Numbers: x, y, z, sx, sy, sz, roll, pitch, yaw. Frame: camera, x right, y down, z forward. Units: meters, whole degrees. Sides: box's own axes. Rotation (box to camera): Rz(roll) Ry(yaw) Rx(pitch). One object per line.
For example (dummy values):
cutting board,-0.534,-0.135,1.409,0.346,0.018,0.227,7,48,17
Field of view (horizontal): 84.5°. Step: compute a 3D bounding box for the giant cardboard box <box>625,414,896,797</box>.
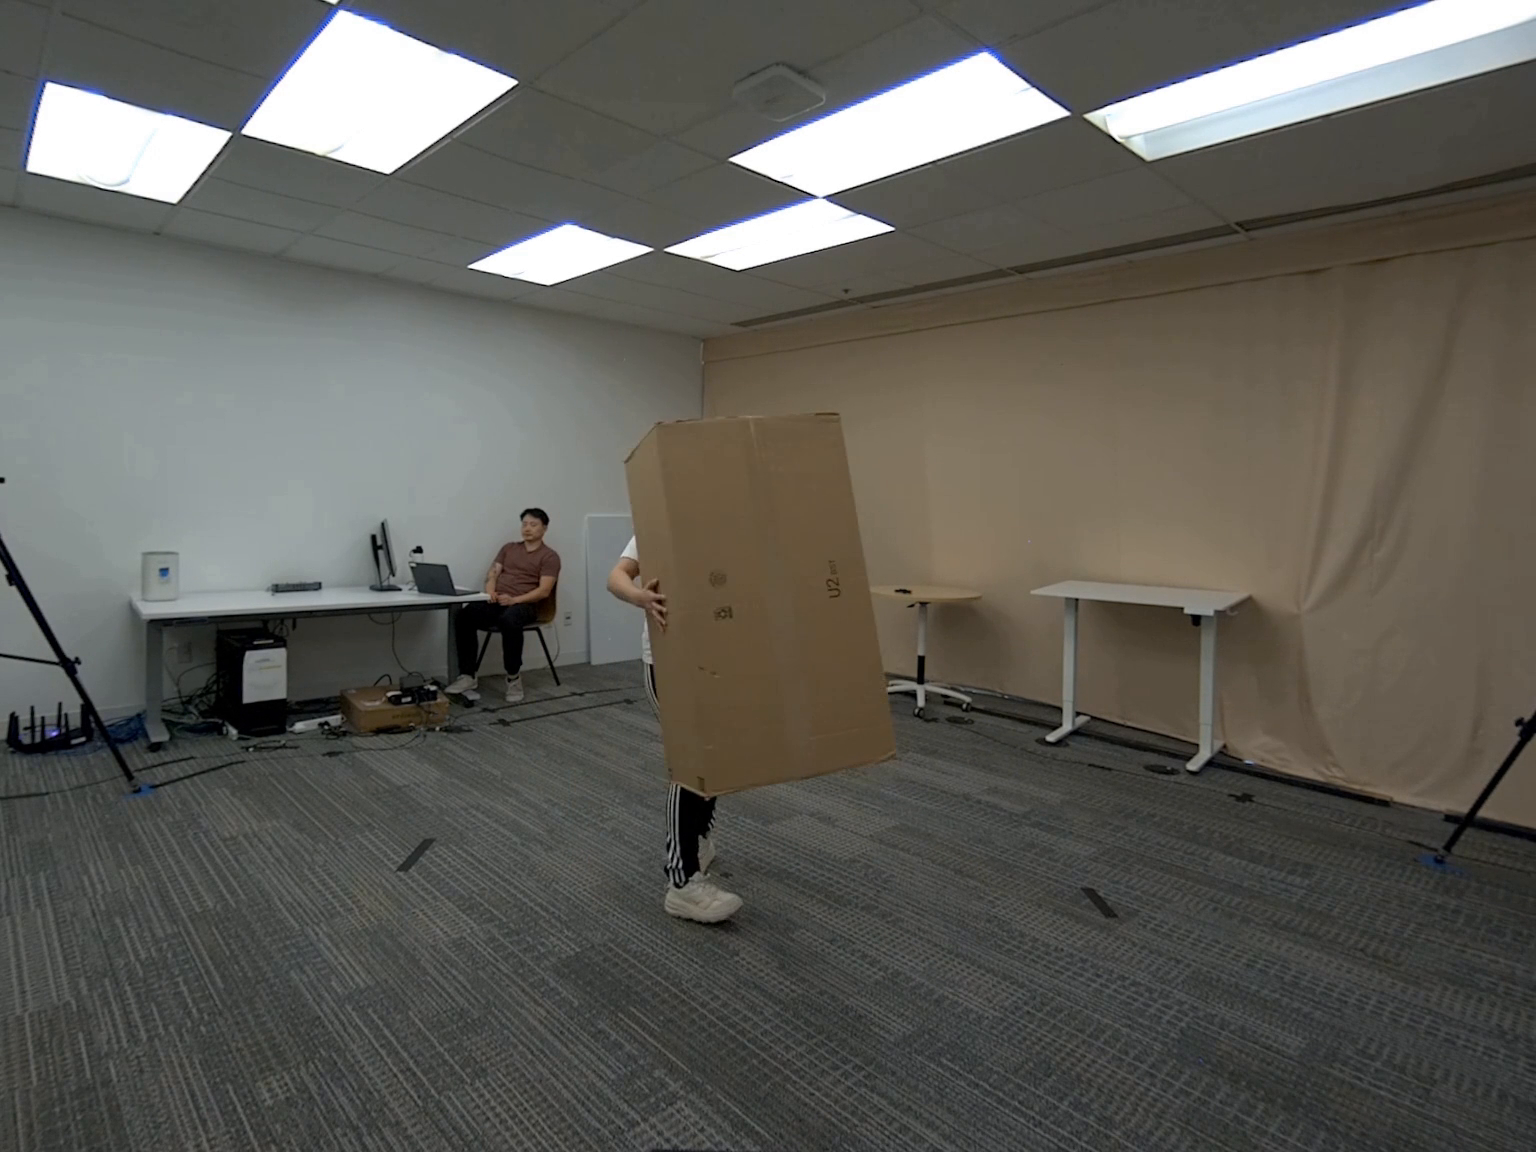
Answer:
giant cardboard box,-0.051,0.077,2.543,0.576,1.032,0.451,-6,-6,-21
